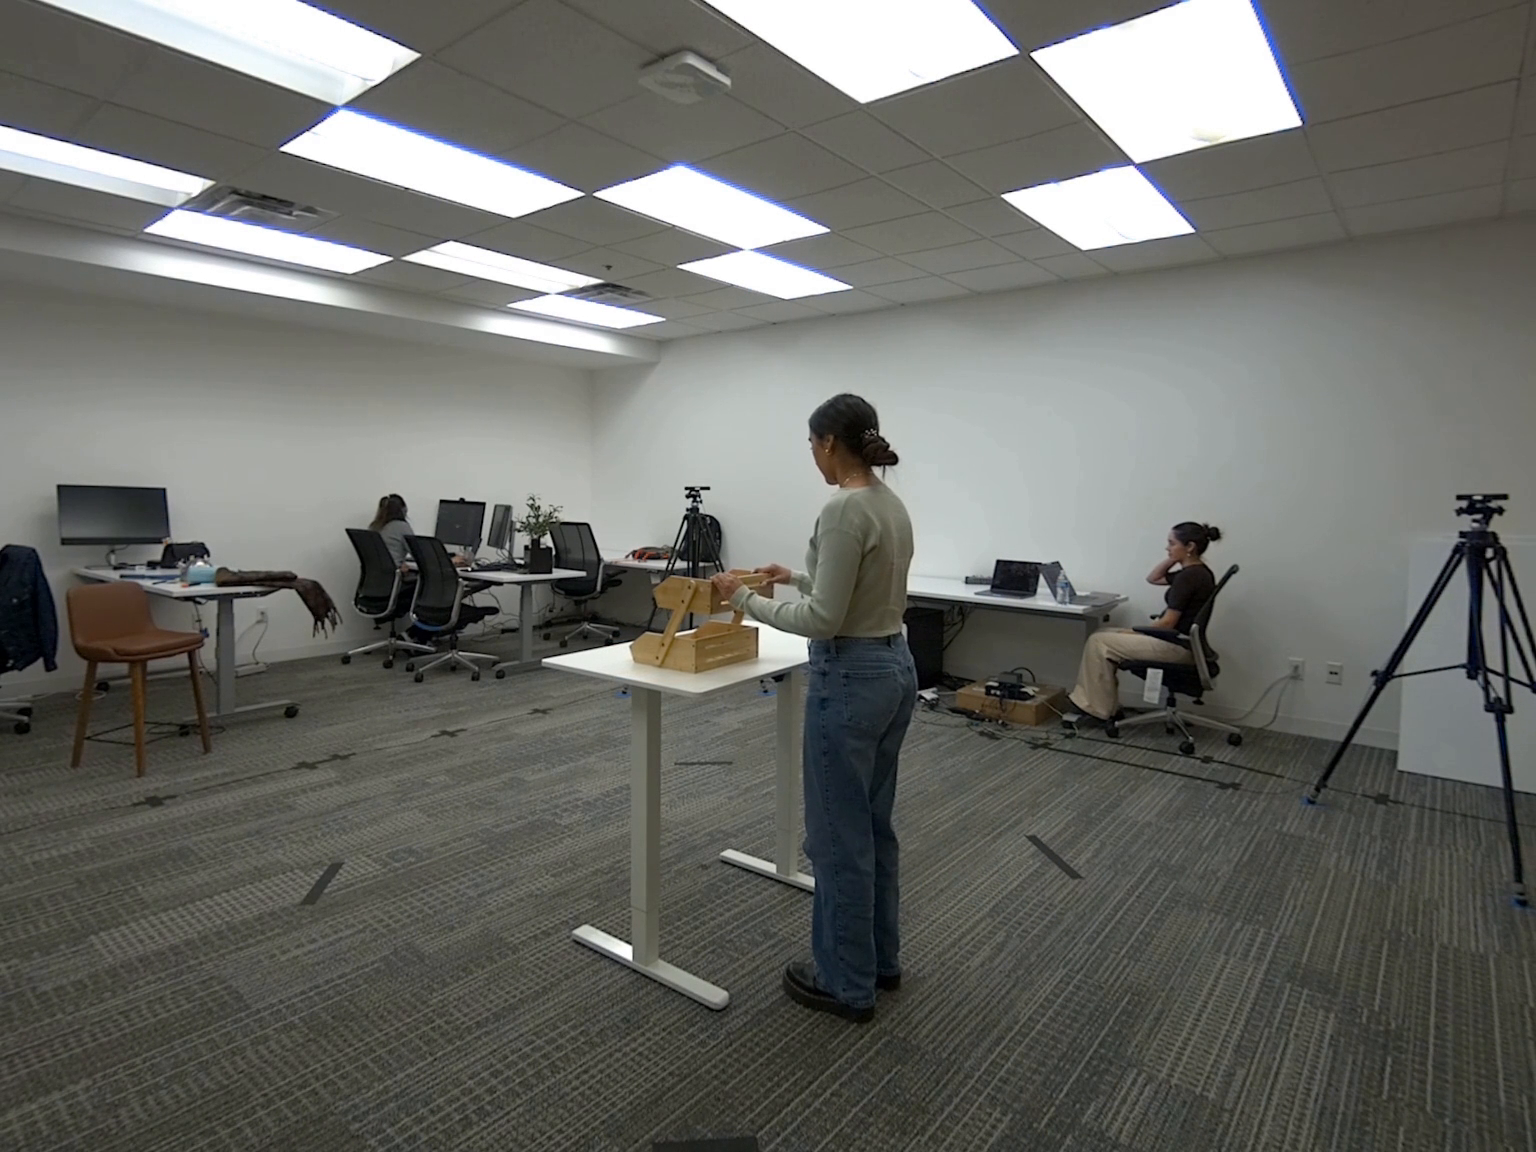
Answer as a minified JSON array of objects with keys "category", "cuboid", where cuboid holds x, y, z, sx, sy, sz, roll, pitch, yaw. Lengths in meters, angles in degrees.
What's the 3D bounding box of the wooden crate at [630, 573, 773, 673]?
[{"category":"wooden crate","cuboid":[-0.202,0.117,2.487,0.312,0.272,0.315,5,6,37]}]
